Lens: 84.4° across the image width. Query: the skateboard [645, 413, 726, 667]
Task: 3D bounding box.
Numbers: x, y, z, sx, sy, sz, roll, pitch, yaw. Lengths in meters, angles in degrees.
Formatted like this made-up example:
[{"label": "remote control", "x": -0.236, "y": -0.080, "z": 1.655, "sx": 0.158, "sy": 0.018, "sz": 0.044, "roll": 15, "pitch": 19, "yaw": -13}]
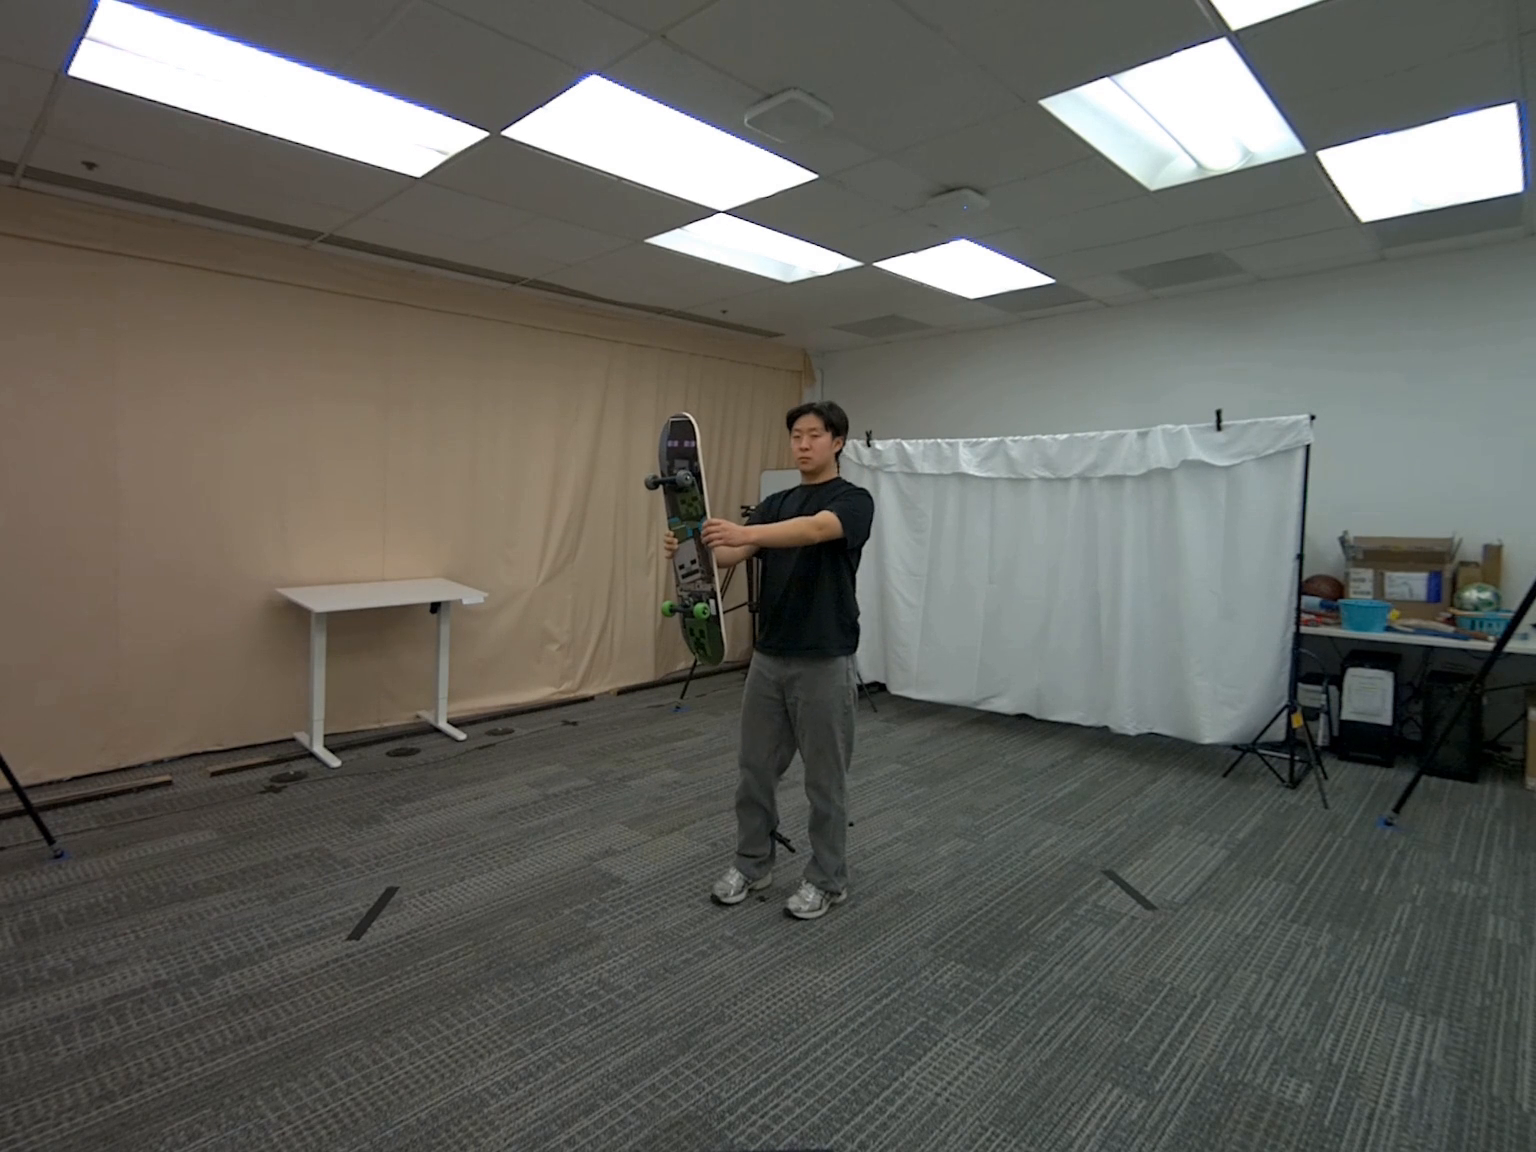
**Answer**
[{"label": "skateboard", "x": -0.253, "y": -0.096, "z": 2.567, "sx": 0.107, "sy": 0.782, "sz": 0.199, "roll": -11, "pitch": 6, "yaw": -42}]
